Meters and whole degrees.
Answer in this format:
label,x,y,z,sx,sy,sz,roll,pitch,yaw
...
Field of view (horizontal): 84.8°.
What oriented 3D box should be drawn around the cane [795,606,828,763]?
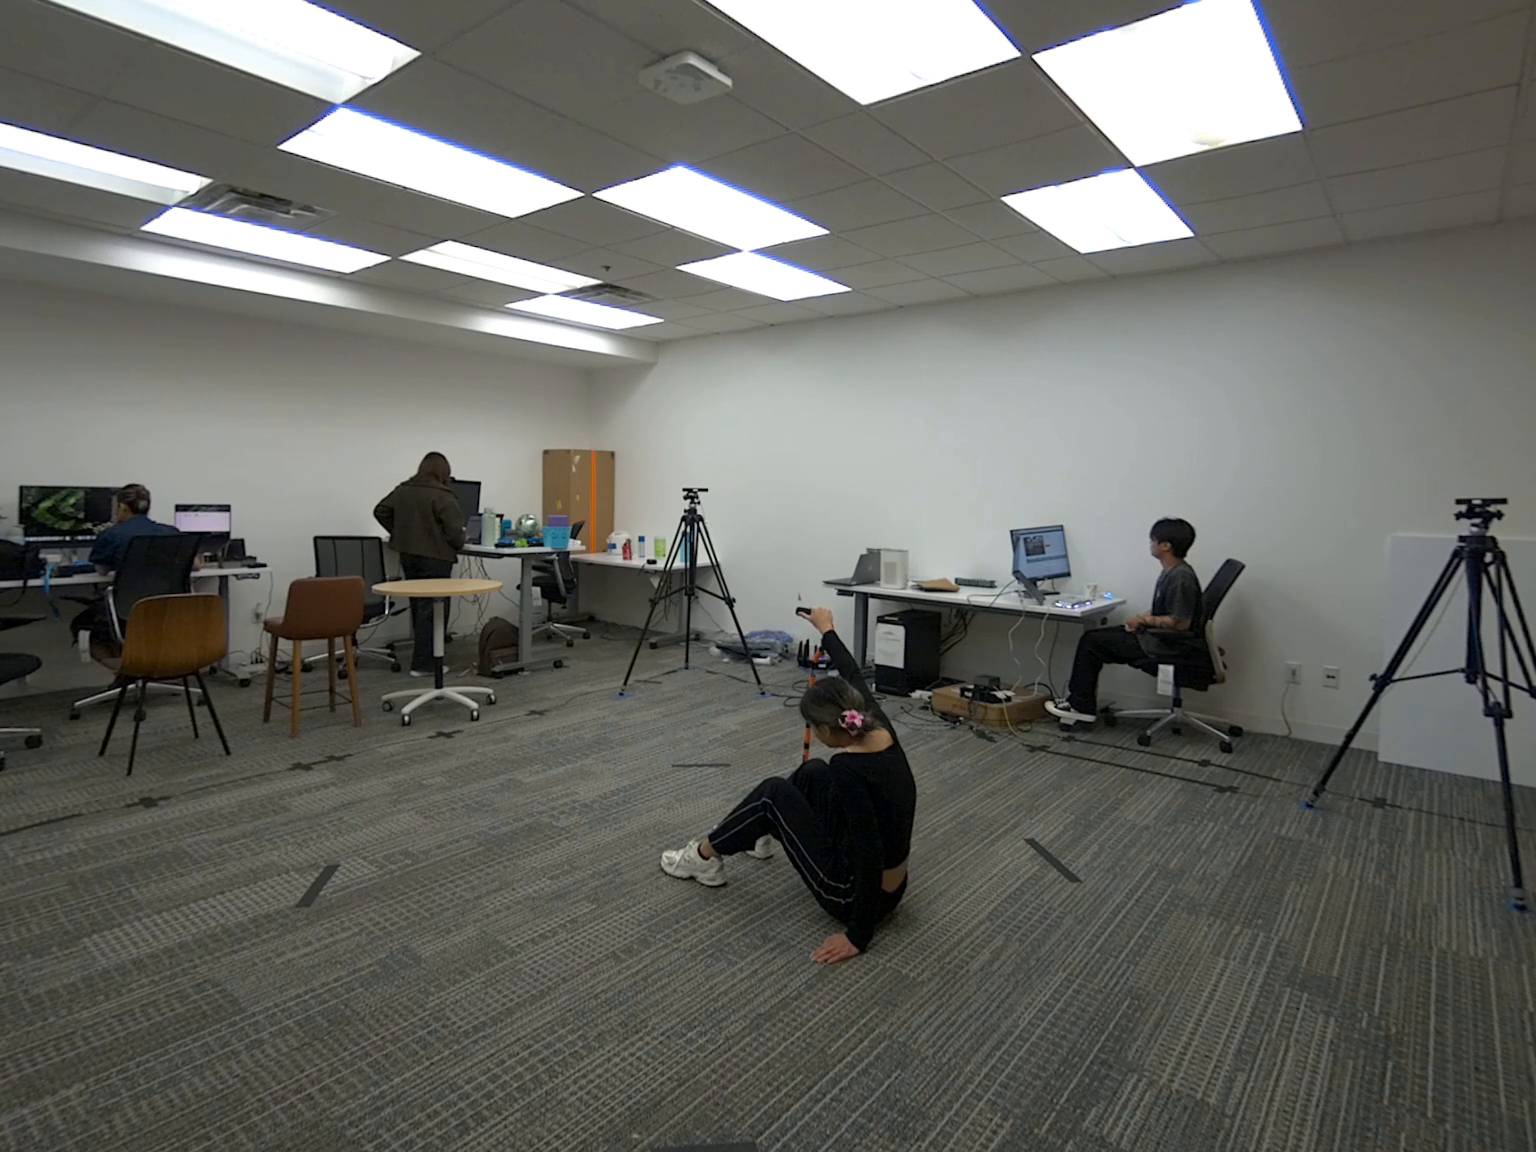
label,x,y,z,sx,sy,sz,roll,pitch,yaw
cane,0.148,0.583,3.405,0.213,0.904,0.147,7,5,31
